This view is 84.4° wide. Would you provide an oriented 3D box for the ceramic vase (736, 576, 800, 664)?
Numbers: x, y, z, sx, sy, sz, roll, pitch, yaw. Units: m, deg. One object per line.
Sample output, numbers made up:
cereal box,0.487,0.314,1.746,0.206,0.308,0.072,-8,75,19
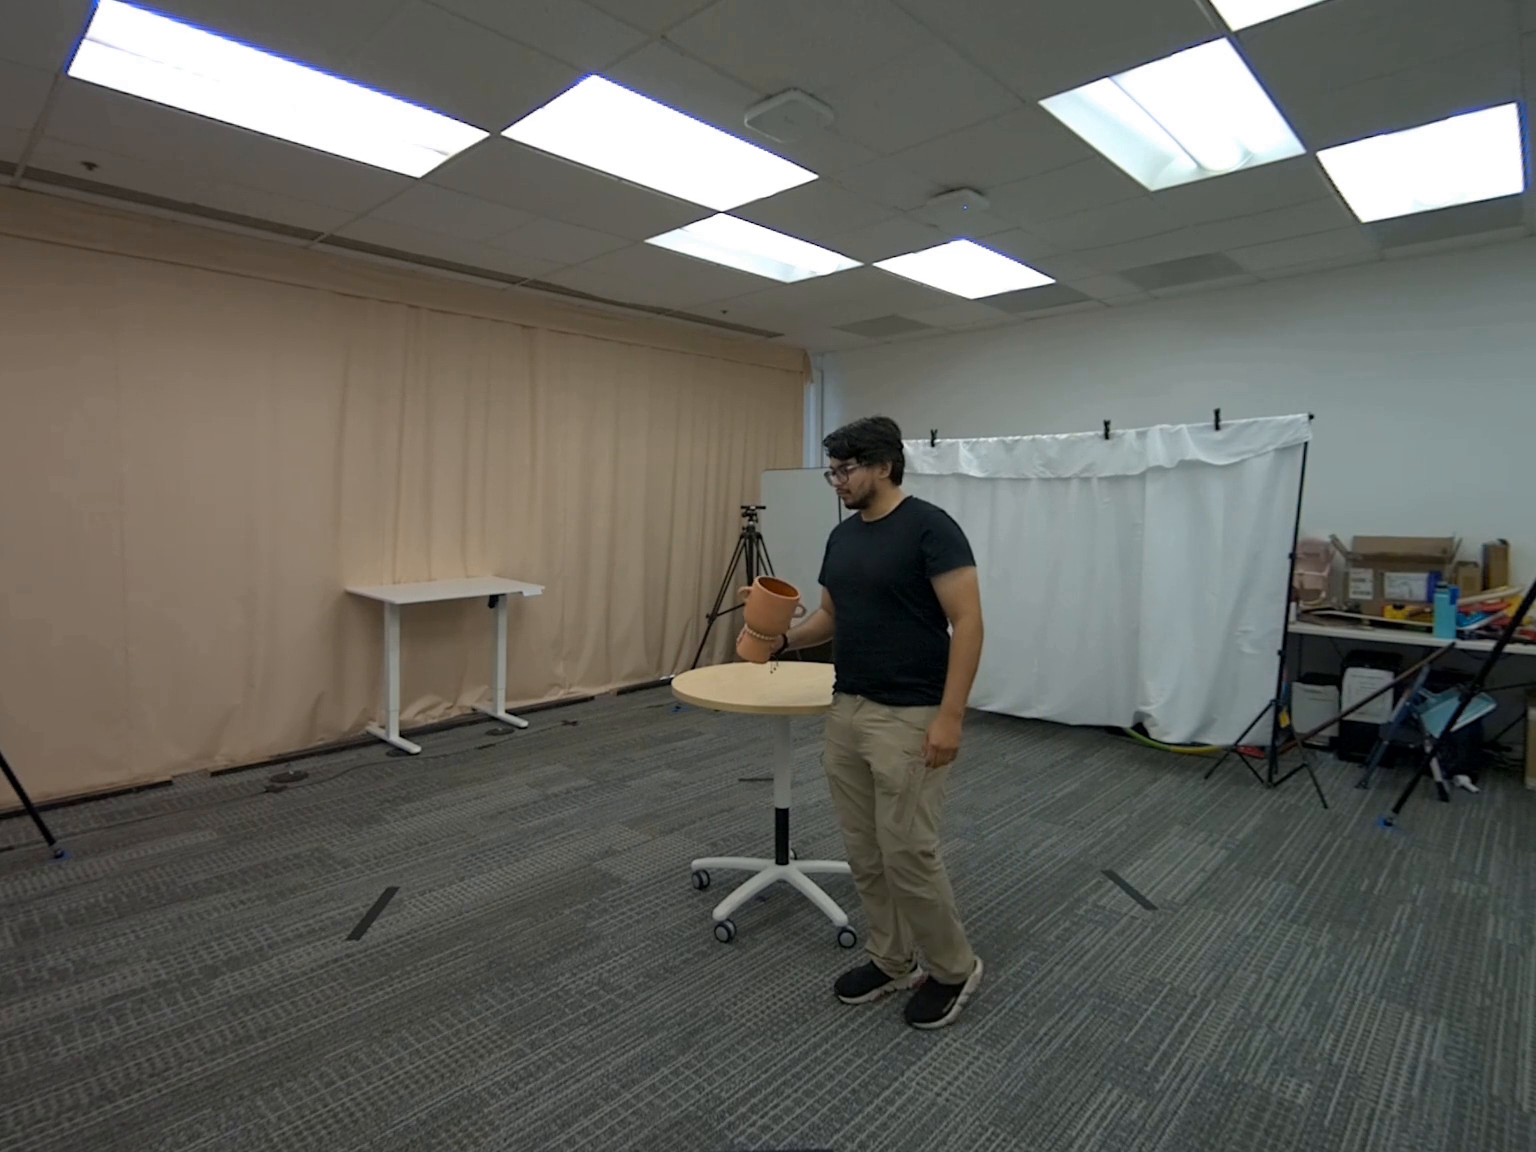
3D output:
ceramic vase,-0.004,0.127,2.342,0.164,0.218,0.131,29,22,29
